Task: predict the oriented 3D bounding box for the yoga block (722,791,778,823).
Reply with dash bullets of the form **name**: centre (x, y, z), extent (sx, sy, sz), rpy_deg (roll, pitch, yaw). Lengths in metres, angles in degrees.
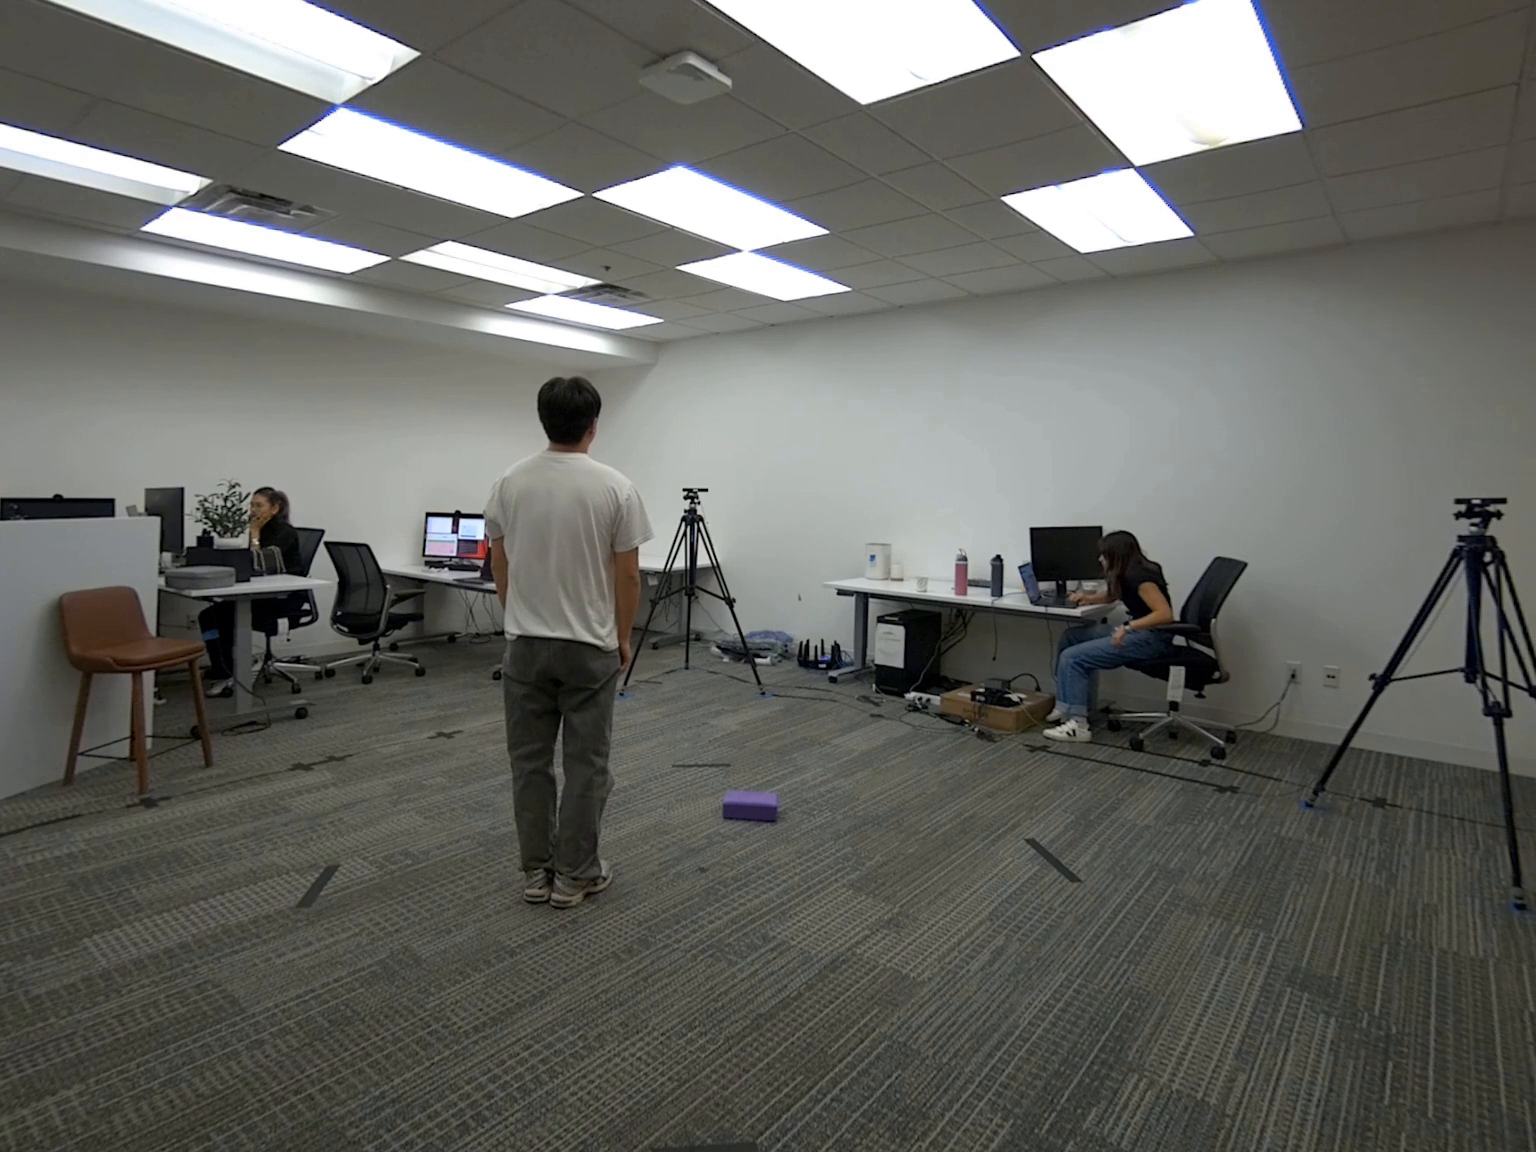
- **yoga block**: centre (-0.073, 0.976, 3.650), extent (0.231, 0.076, 0.148), rpy_deg (1, 7, 7)
